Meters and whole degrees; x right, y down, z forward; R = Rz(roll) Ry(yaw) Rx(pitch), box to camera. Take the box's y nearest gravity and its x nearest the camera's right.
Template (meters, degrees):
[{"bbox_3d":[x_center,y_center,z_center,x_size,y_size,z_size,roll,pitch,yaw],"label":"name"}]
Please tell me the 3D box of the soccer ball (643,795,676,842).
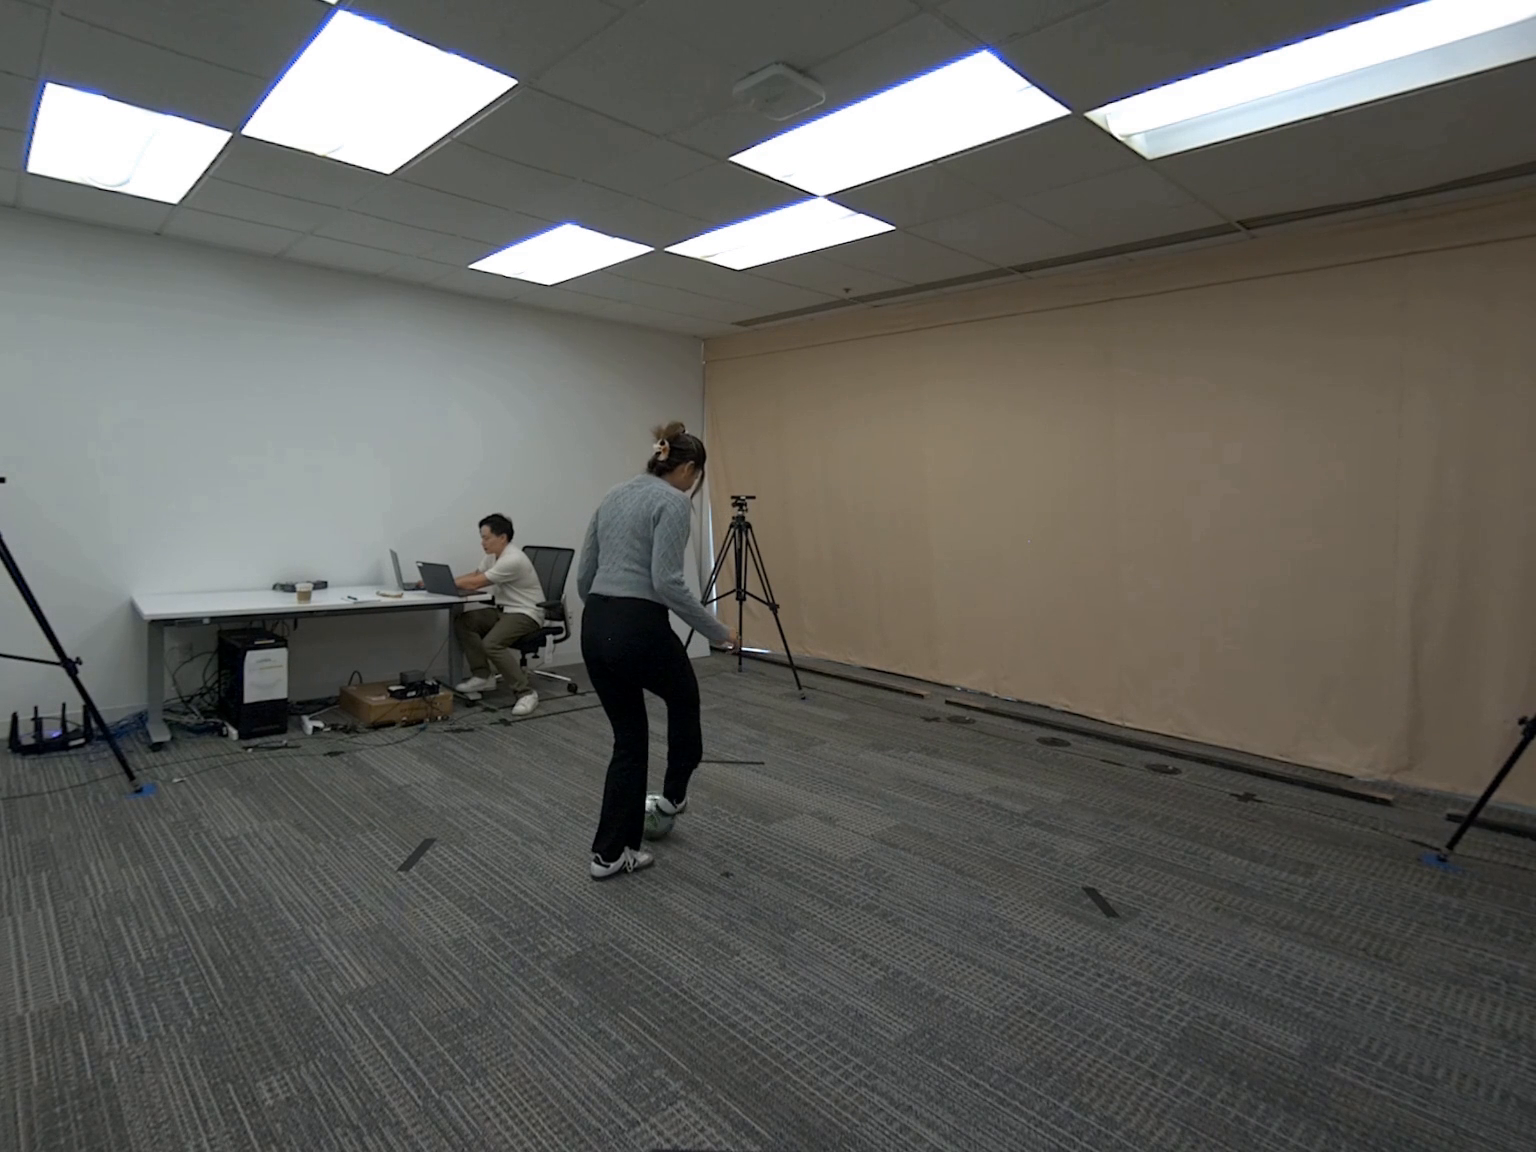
[{"bbox_3d":[-0.461,0.971,3.408,0.187,0.187,0.188,1,4,-1],"label":"soccer ball"}]
